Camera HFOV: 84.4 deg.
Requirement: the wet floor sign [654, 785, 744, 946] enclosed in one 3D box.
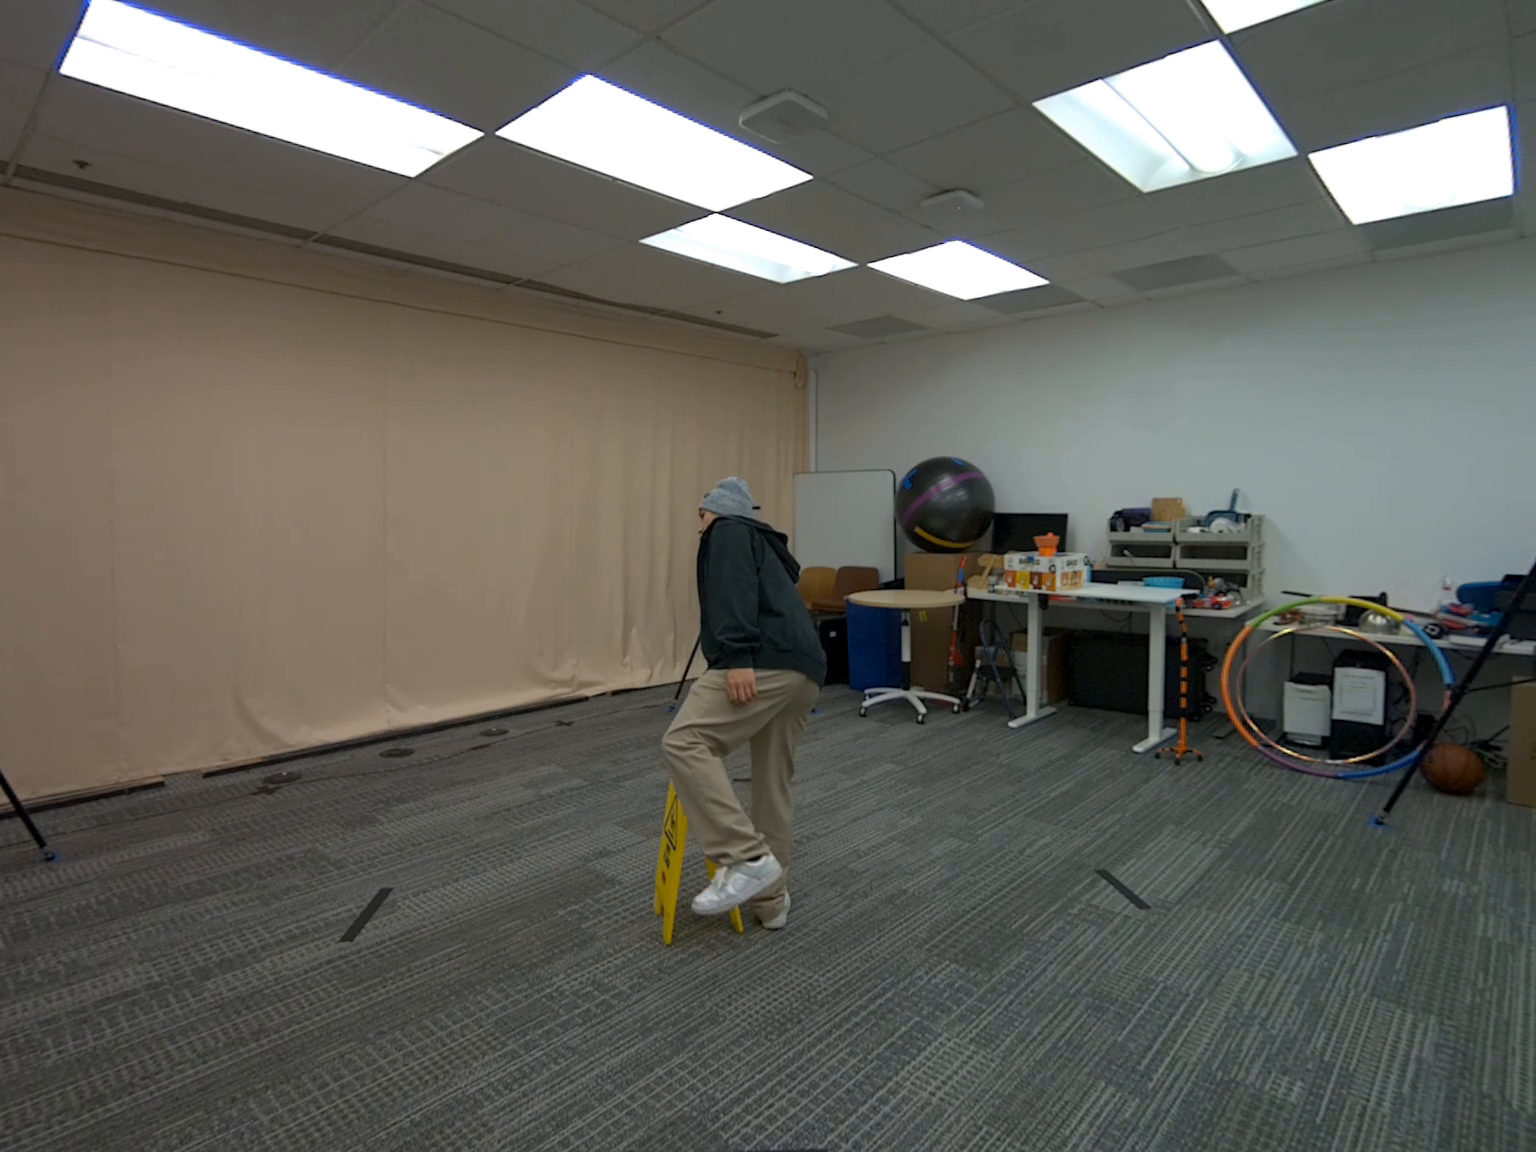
[{"bbox_3d":[-0.255,0.838,2.815,0.285,0.645,0.288,-3,3,-18],"label":"wet floor sign"}]
